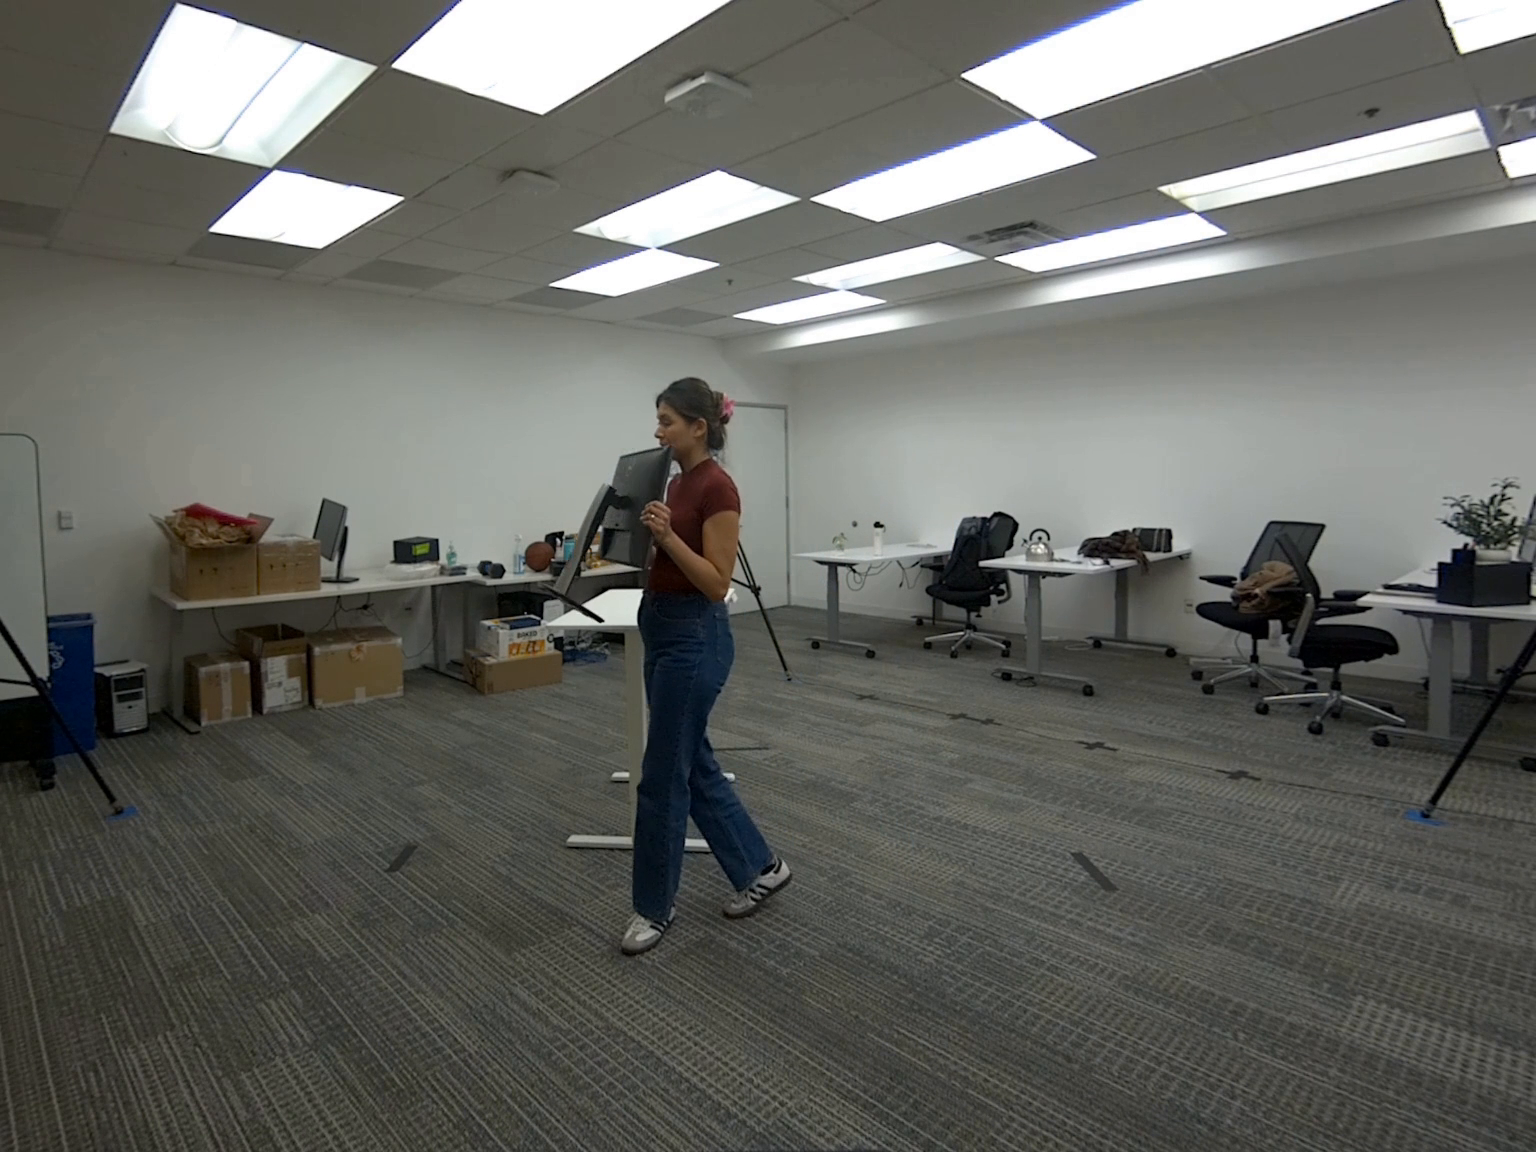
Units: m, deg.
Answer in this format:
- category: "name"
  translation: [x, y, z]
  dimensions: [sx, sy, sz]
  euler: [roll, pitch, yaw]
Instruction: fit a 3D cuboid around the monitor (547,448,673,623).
- category: "monitor"
  translation: [-0.470, -0.141, 2.557]
  dimensions: [0.181, 0.524, 0.553]
  euler: [31, -10, -26]
